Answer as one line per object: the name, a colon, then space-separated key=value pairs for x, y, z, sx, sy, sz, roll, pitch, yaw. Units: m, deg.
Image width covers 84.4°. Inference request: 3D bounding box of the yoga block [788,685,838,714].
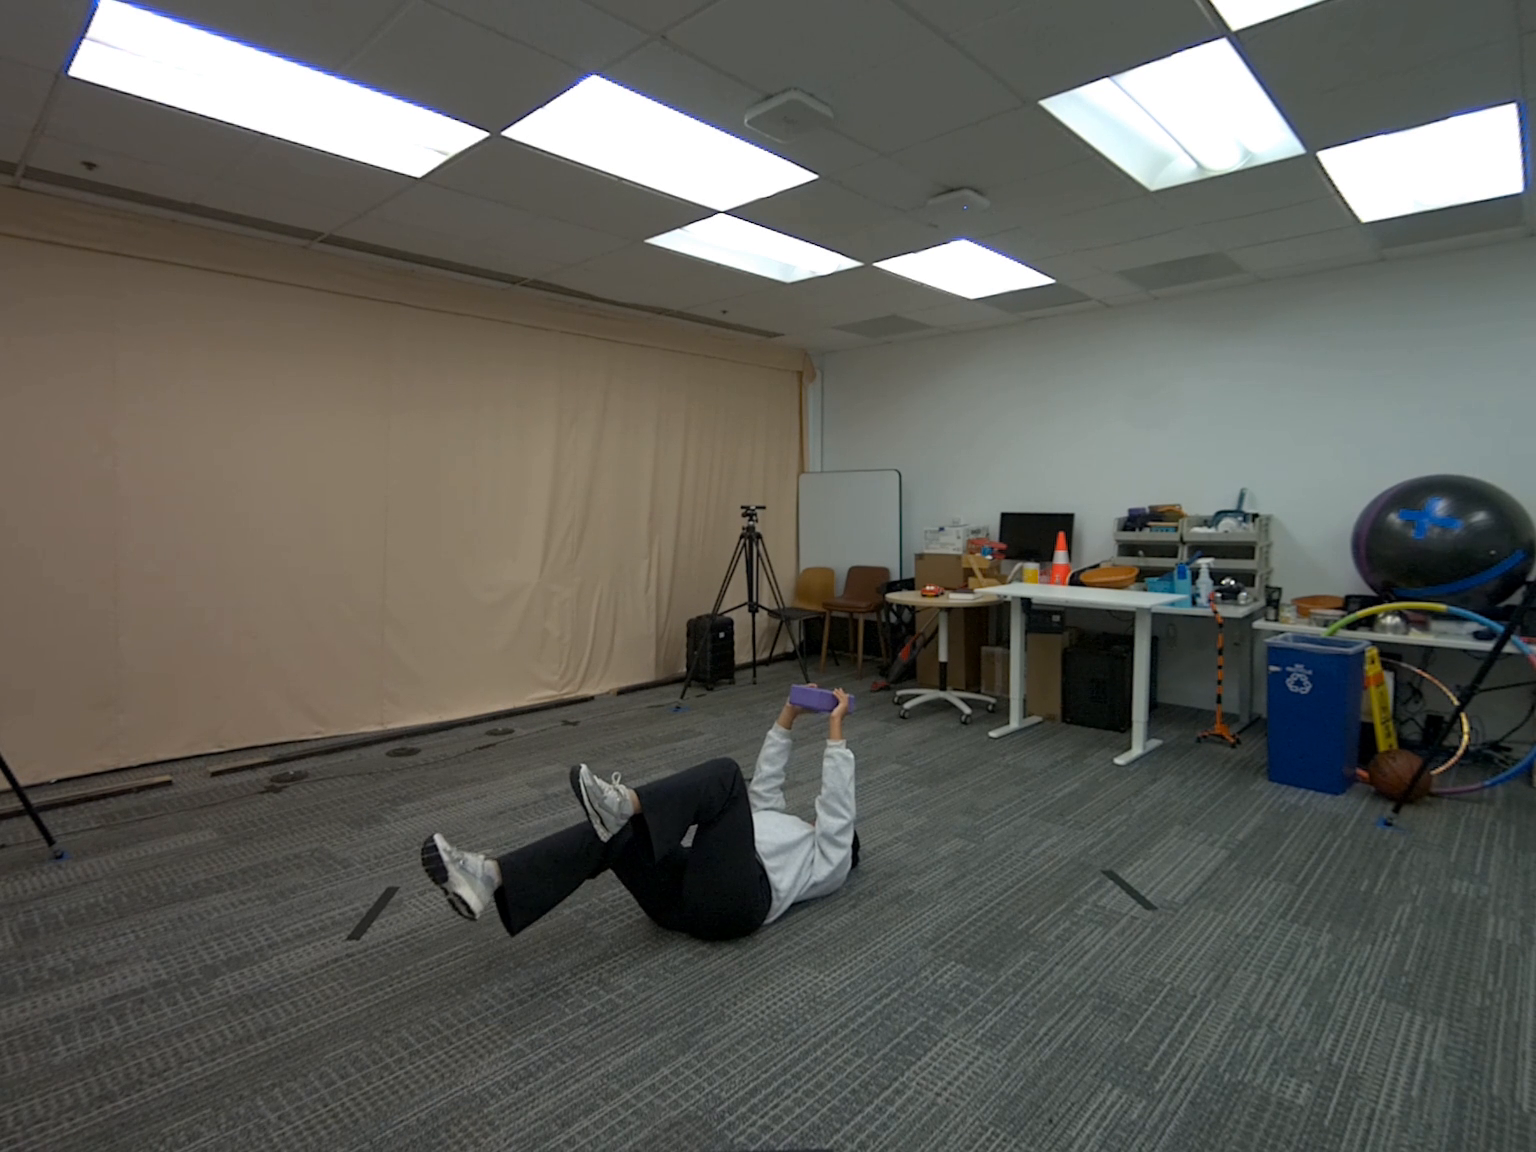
yoga block: x=0.212 y=0.472 z=3.215 sx=0.154 sy=0.076 sz=0.221 roll=5 pitch=-8 yaw=38
